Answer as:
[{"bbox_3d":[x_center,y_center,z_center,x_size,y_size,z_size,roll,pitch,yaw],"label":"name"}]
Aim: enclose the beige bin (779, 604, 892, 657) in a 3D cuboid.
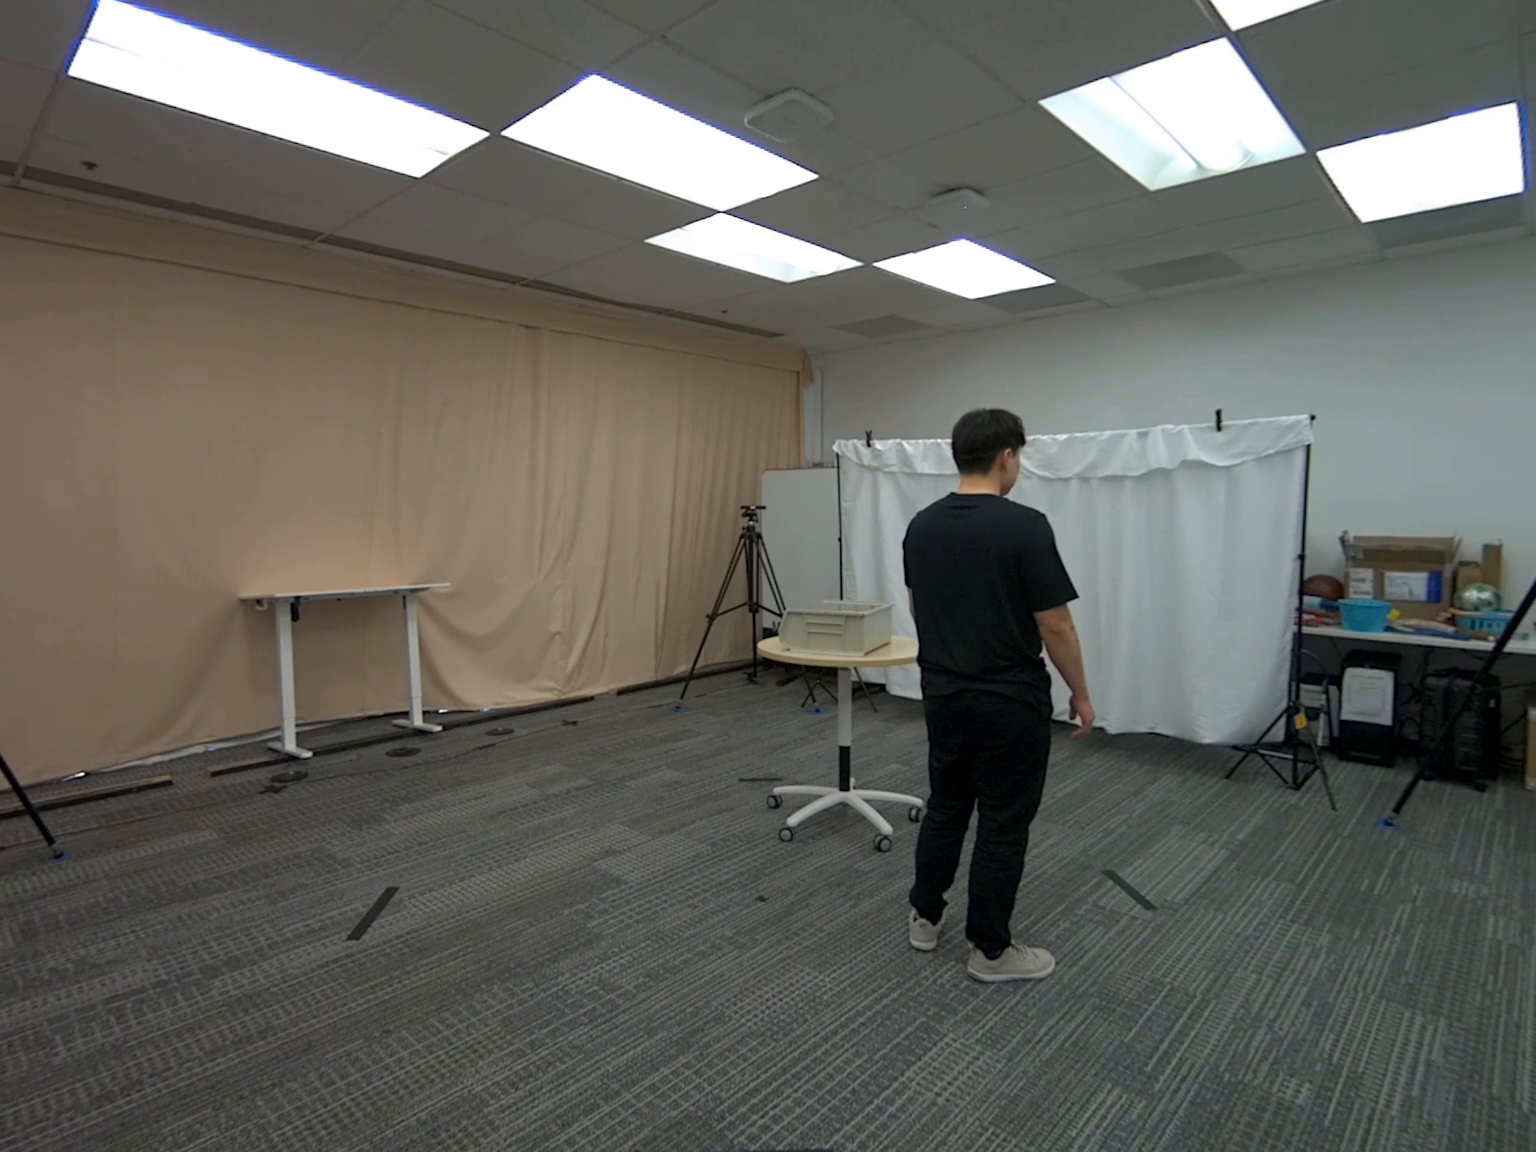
[{"bbox_3d":[0.304,0.218,3.624,0.387,0.188,0.412,3,5,26],"label":"beige bin"}]
